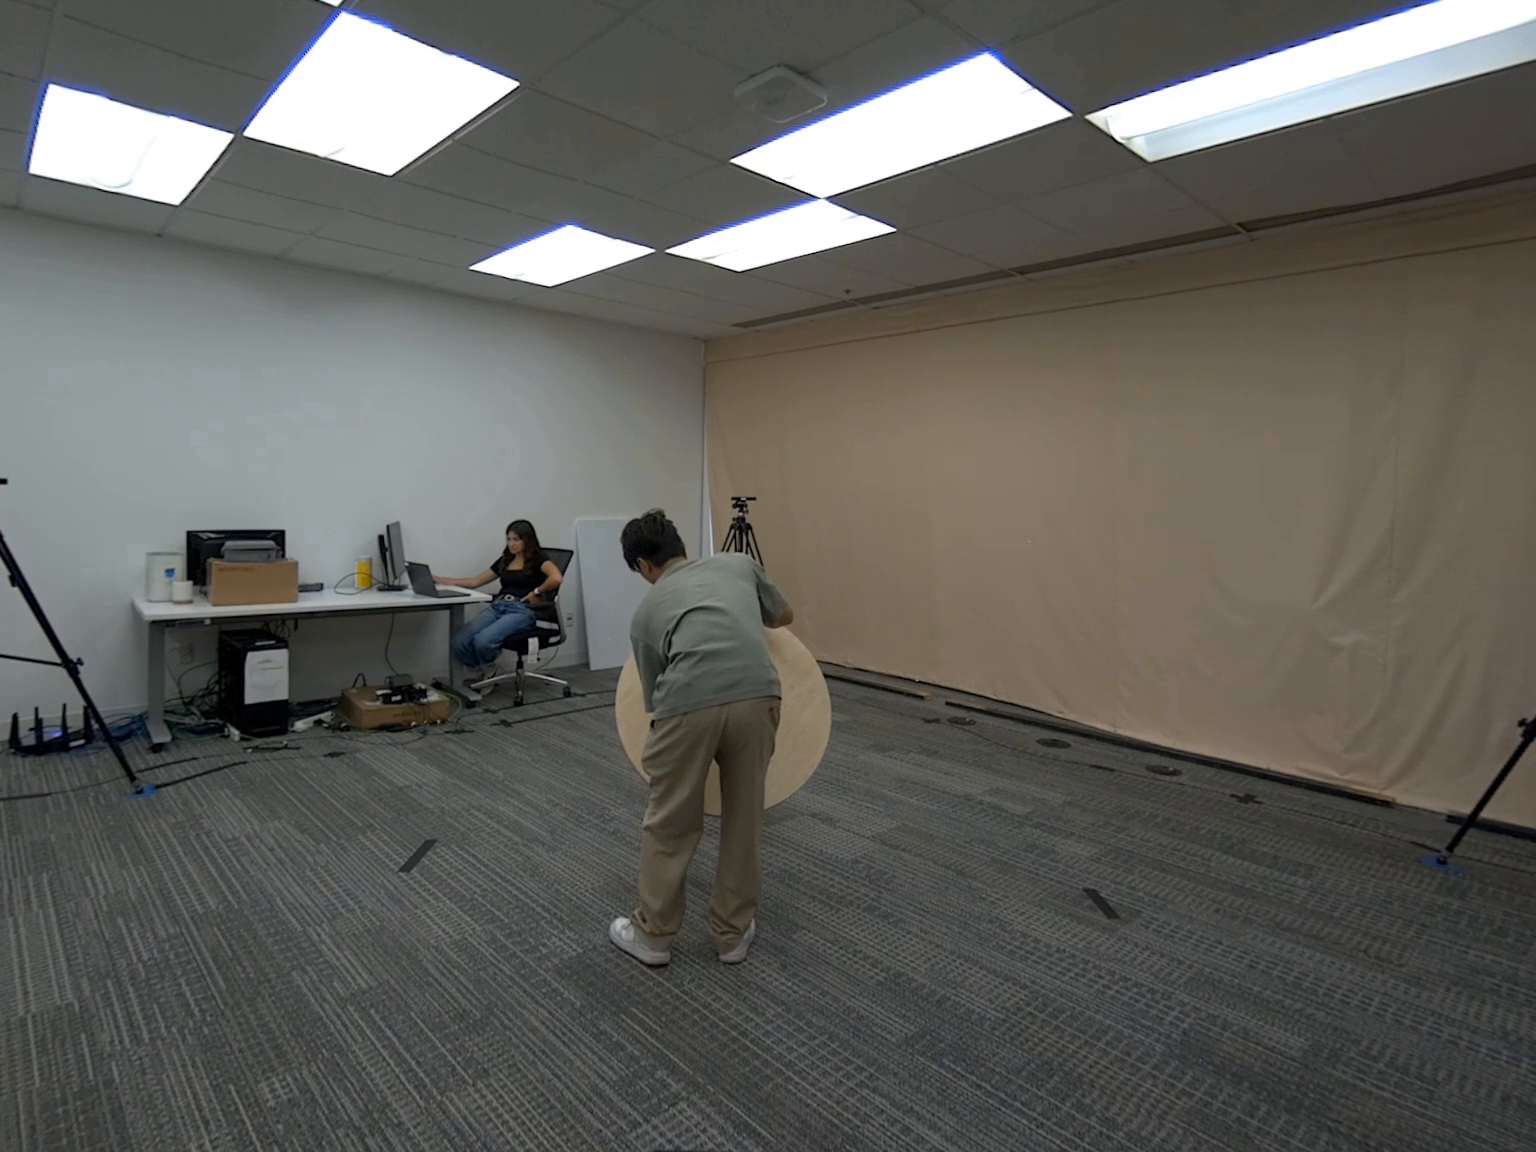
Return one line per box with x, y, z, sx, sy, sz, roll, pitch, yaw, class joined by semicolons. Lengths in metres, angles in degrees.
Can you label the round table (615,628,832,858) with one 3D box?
-0.234;0.628;3.306;0.779;0.801;0.776;1;-29;-10;round table
